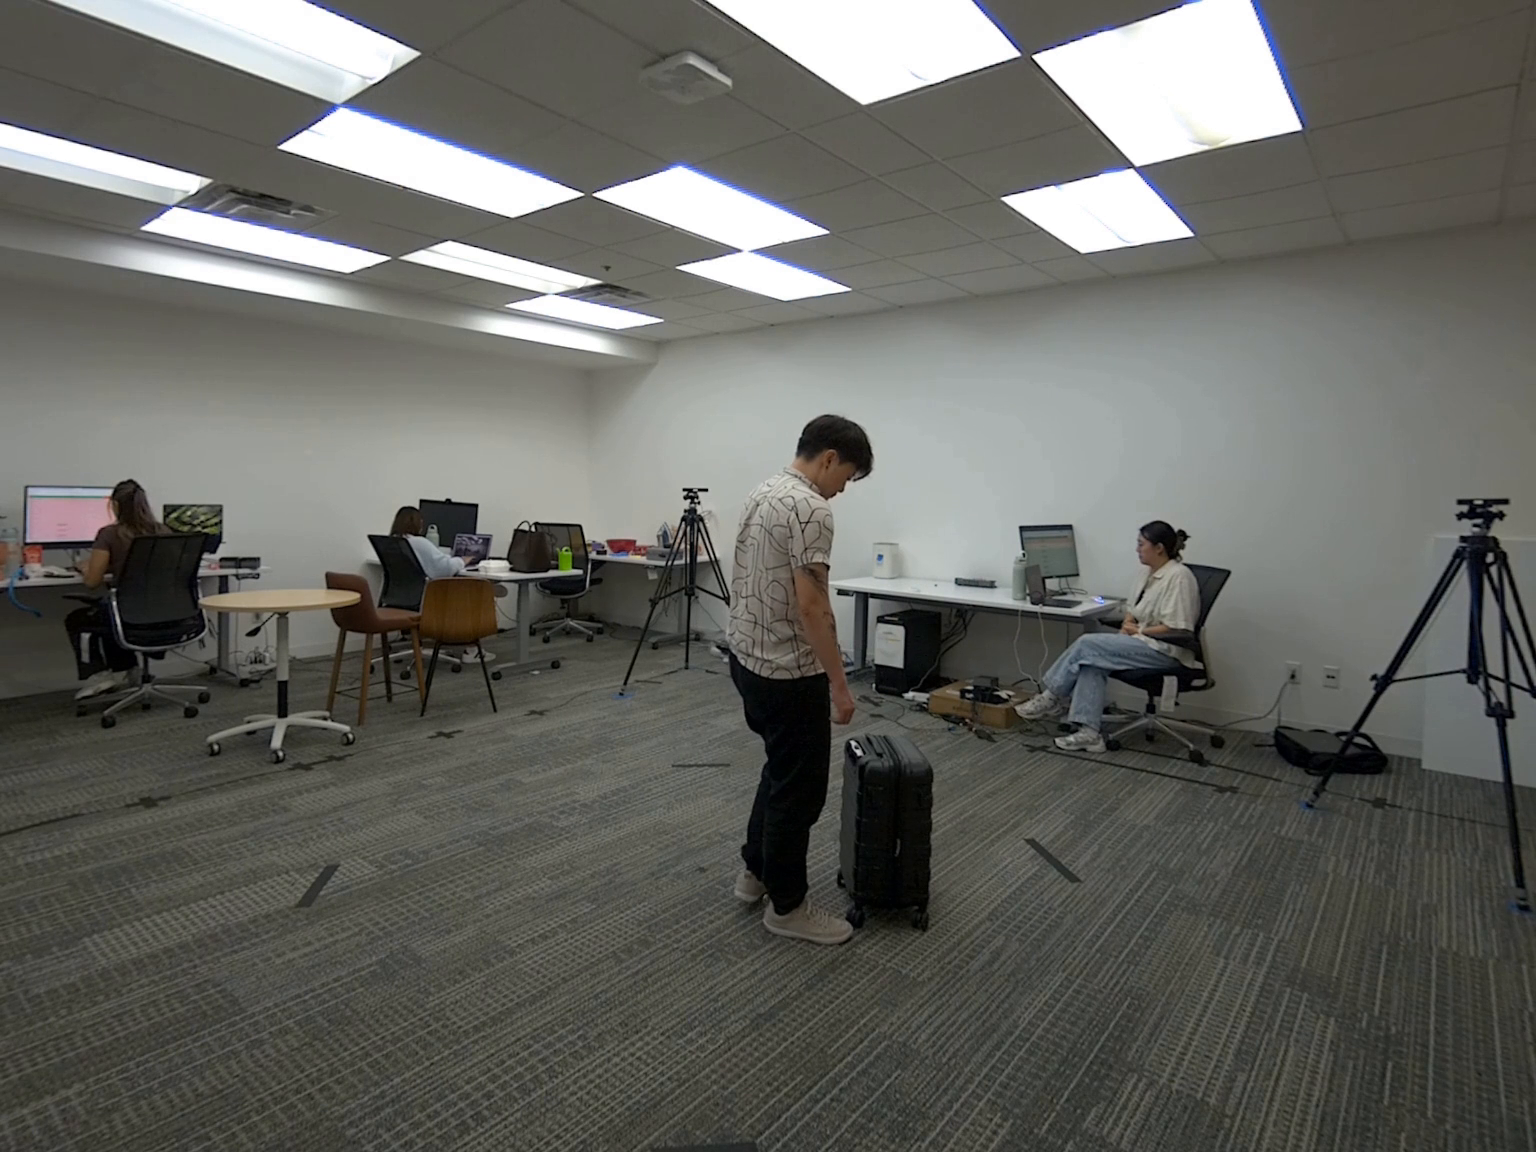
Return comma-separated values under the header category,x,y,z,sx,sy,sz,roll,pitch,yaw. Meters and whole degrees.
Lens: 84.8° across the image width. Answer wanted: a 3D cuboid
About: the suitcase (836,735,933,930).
category,x,y,z,sx,sy,sz,roll,pitch,yaw
suitcase,0.386,0.833,2.876,0.248,0.548,0.377,1,2,-3
